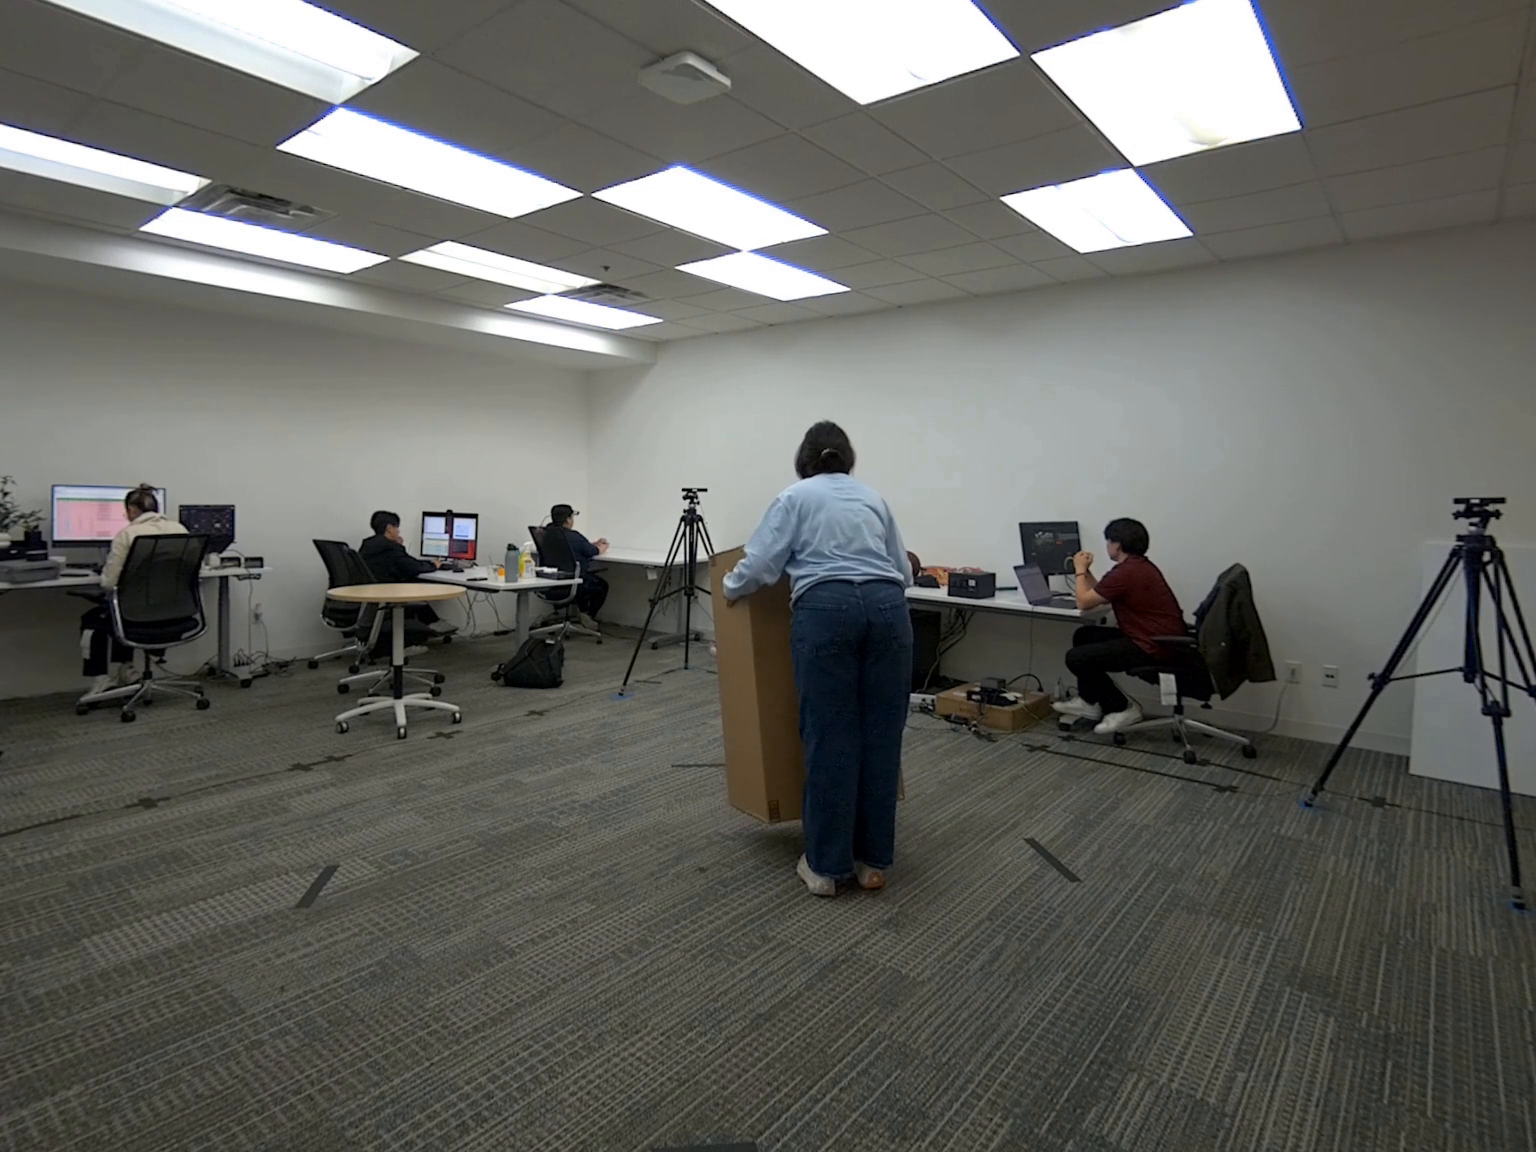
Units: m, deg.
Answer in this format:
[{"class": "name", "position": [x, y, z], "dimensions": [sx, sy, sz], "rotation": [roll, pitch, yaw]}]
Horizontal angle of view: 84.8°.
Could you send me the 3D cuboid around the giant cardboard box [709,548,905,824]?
[{"class": "giant cardboard box", "position": [0.127, 0.386, 3.419], "dimensions": [0.573, 1.032, 0.453], "rotation": [-3, -5, -20]}]
